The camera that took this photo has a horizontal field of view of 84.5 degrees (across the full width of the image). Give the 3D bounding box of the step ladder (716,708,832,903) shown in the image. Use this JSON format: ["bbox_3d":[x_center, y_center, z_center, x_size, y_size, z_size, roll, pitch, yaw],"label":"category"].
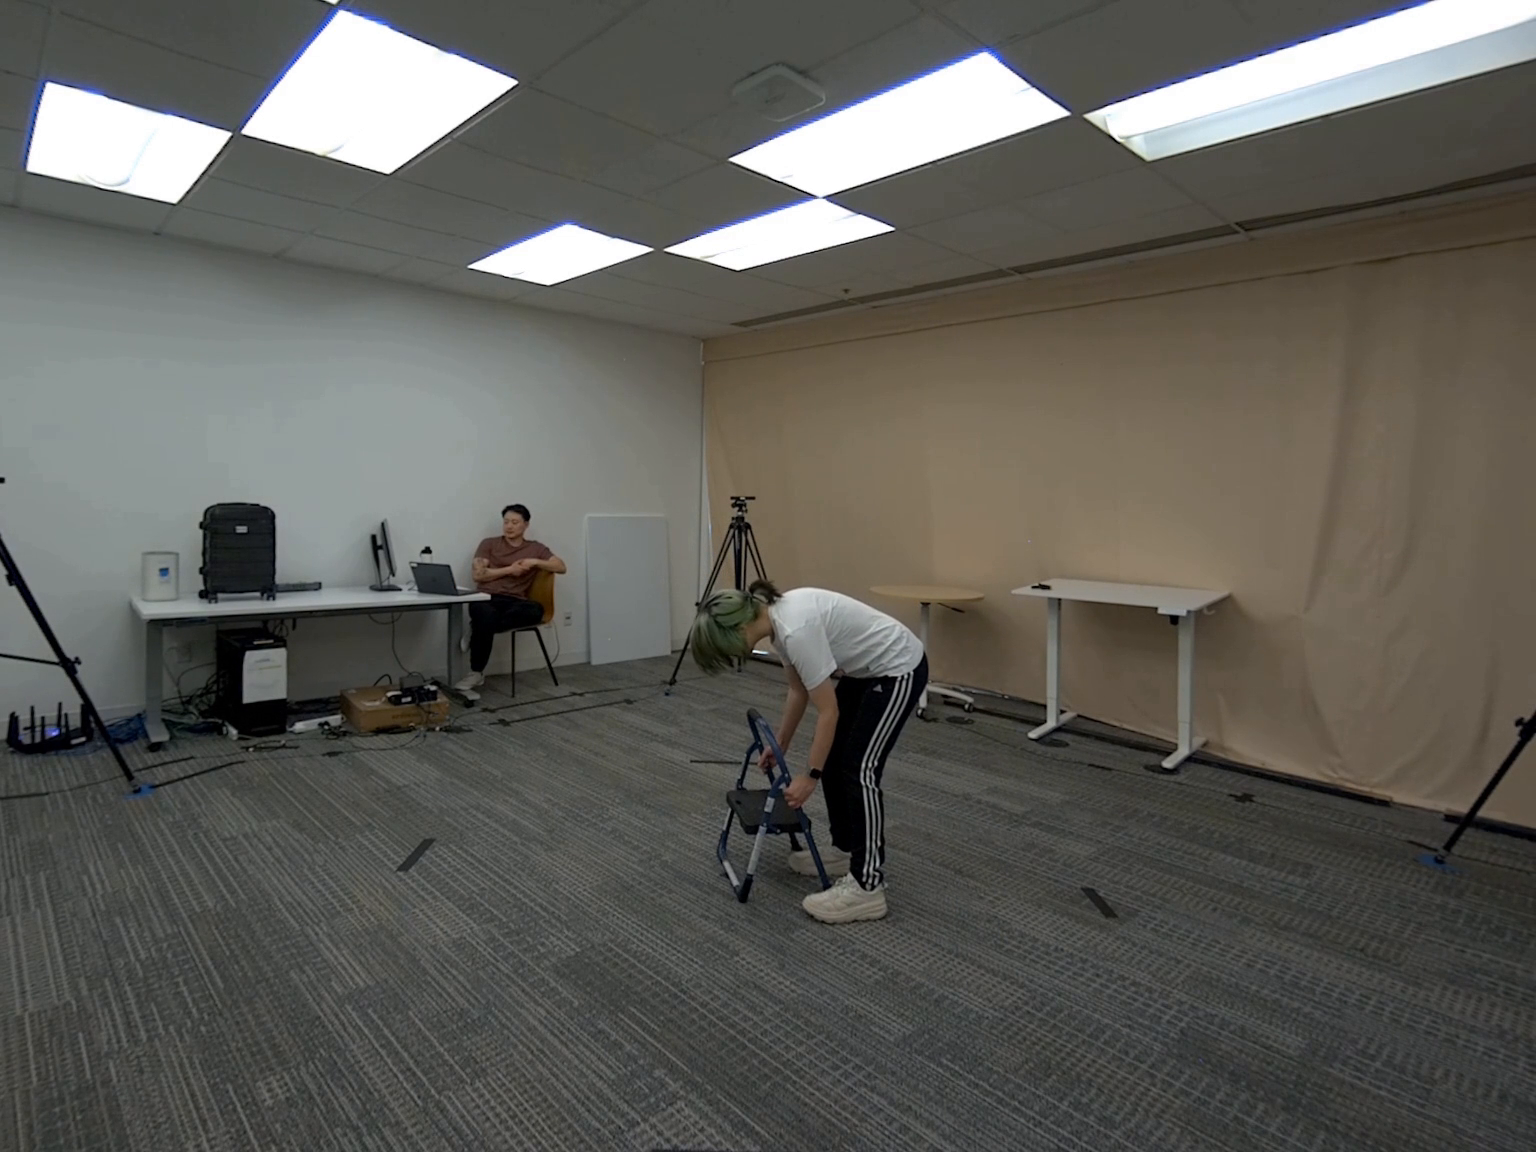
[{"bbox_3d":[0.010,0.808,3.111,0.346,0.605,0.436,-1,3,-14],"label":"step ladder"}]
